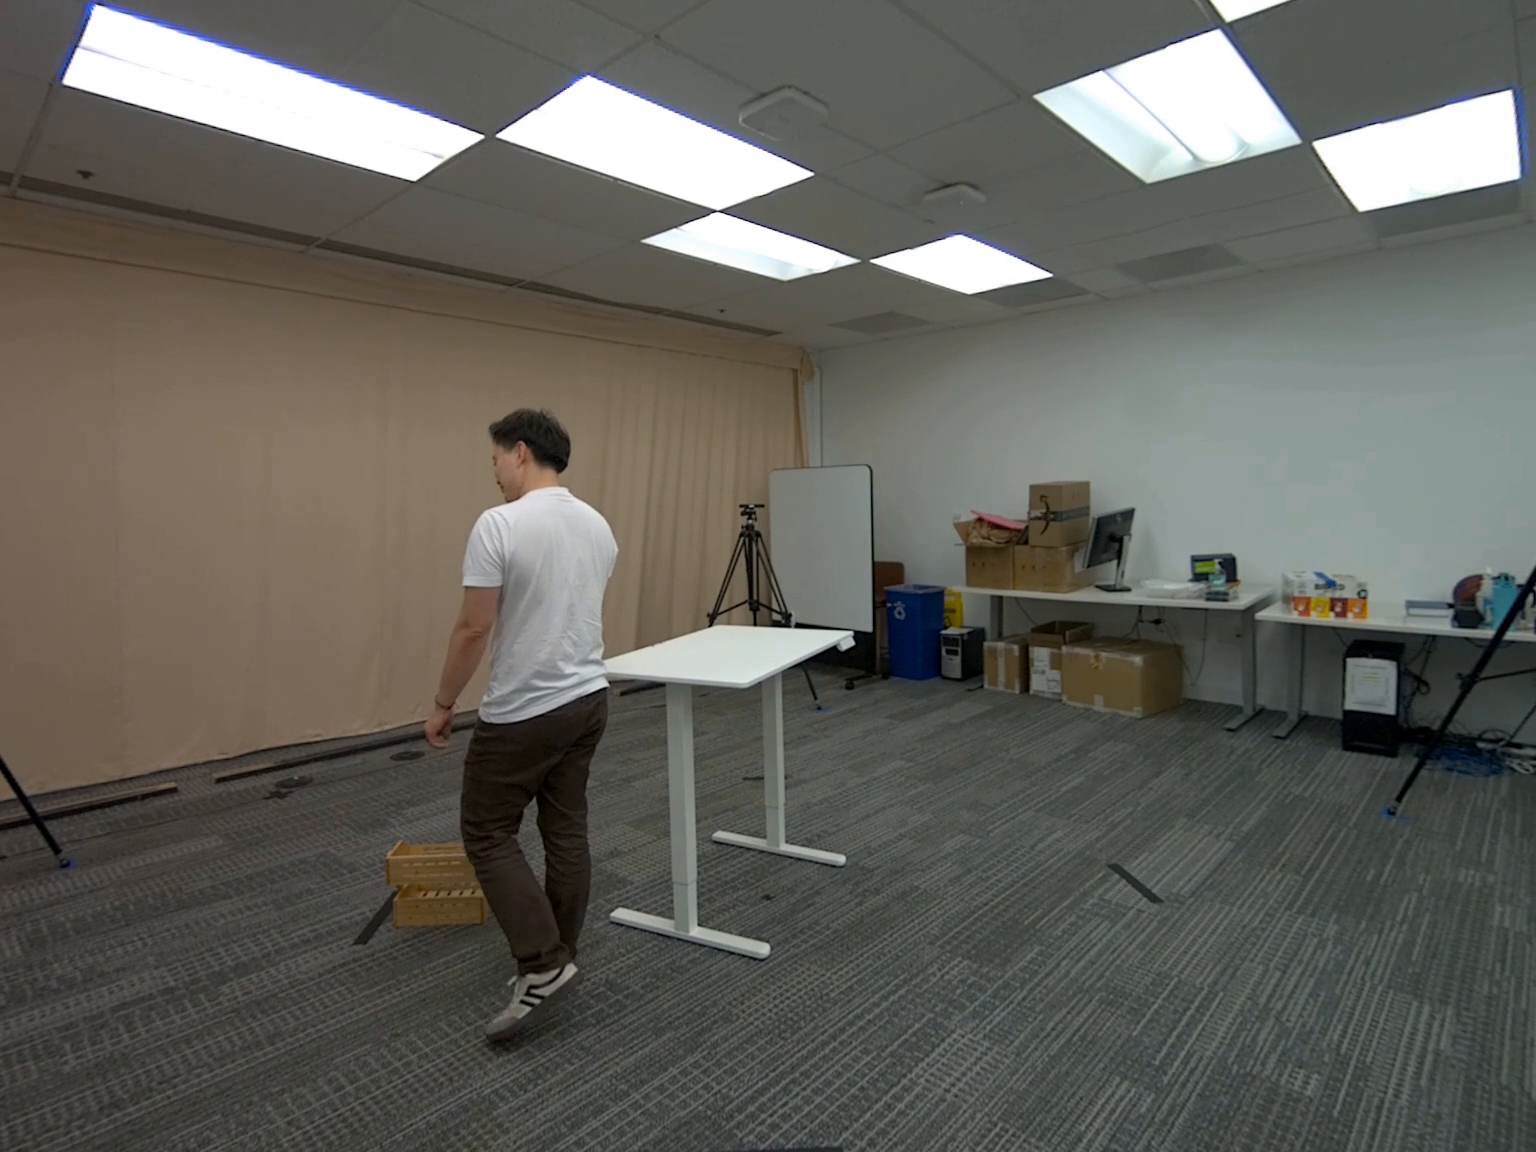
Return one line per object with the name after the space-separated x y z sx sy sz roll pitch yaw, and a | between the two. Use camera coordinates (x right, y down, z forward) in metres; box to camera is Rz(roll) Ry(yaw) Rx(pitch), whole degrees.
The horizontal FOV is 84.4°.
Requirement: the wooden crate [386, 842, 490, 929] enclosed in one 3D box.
-1.142 1.043 2.933 0.322 0.273 0.305 -1 3 -7 | wooden crate
